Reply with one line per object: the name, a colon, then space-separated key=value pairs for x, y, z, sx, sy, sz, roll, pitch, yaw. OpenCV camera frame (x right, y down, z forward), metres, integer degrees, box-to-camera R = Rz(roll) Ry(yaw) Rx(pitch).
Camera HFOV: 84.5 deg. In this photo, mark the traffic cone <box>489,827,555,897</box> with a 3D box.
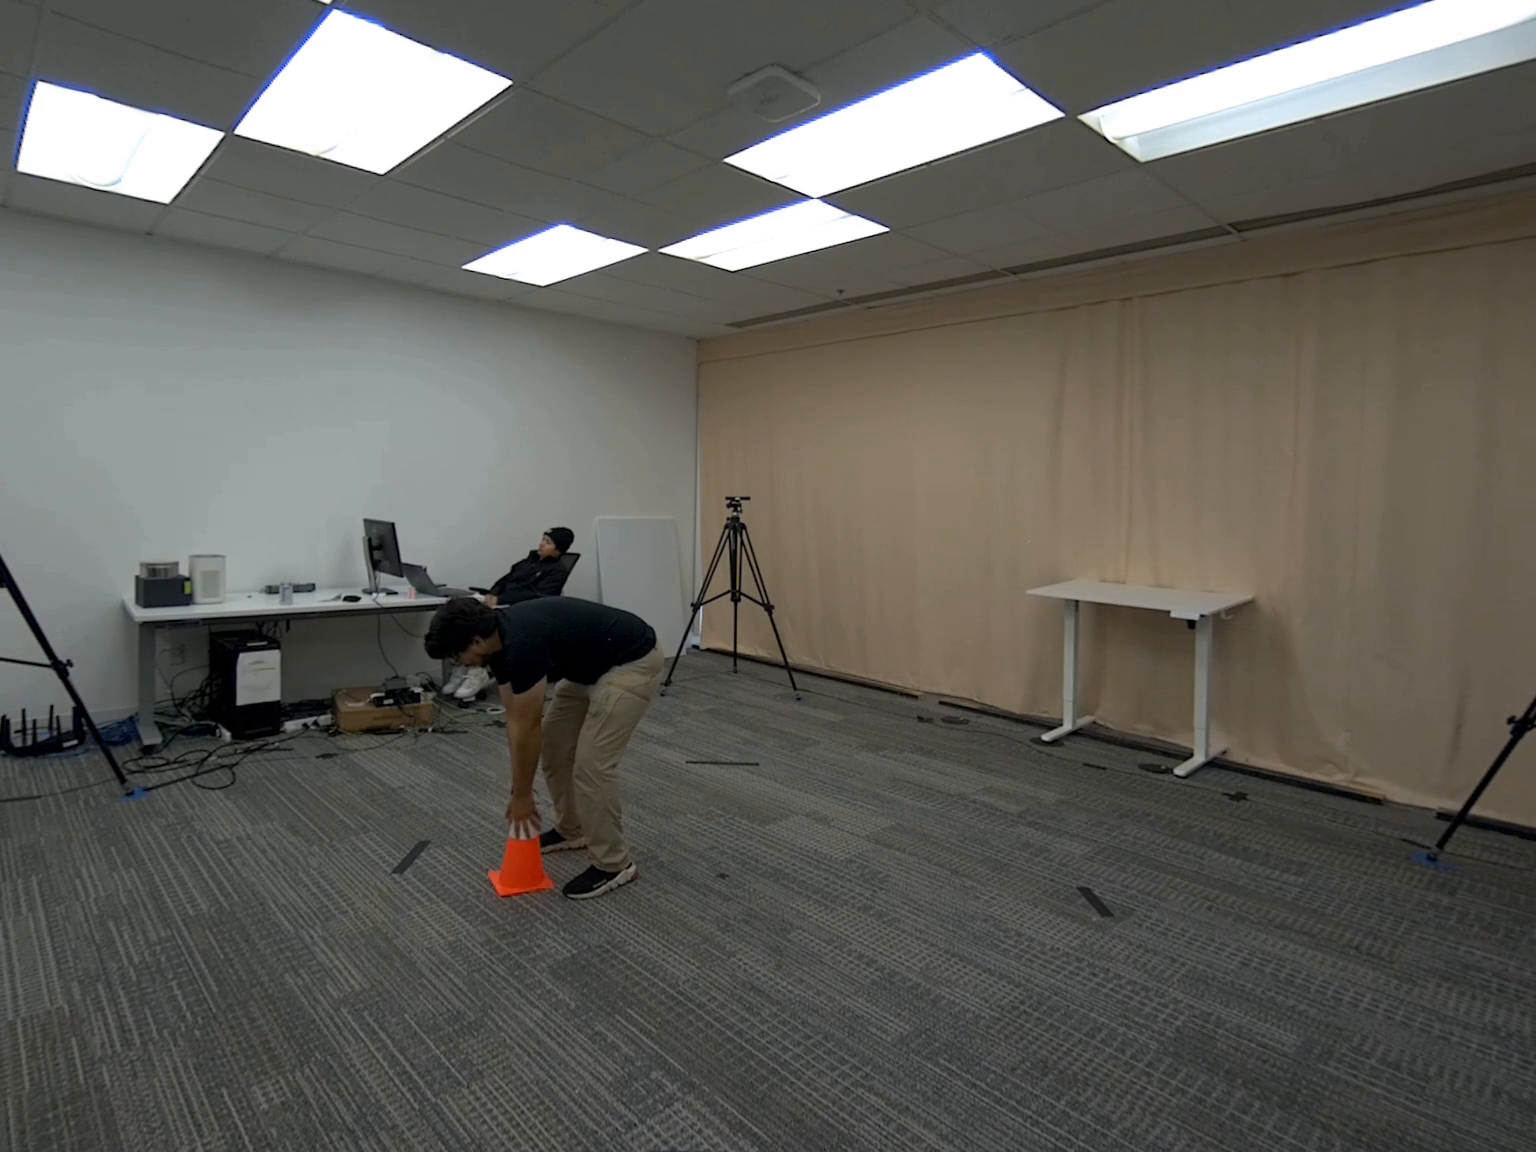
traffic cone: x=-0.884 y=0.899 z=3.017 sx=0.200 sy=0.383 sz=0.208 roll=4 pitch=4 yaw=-34
